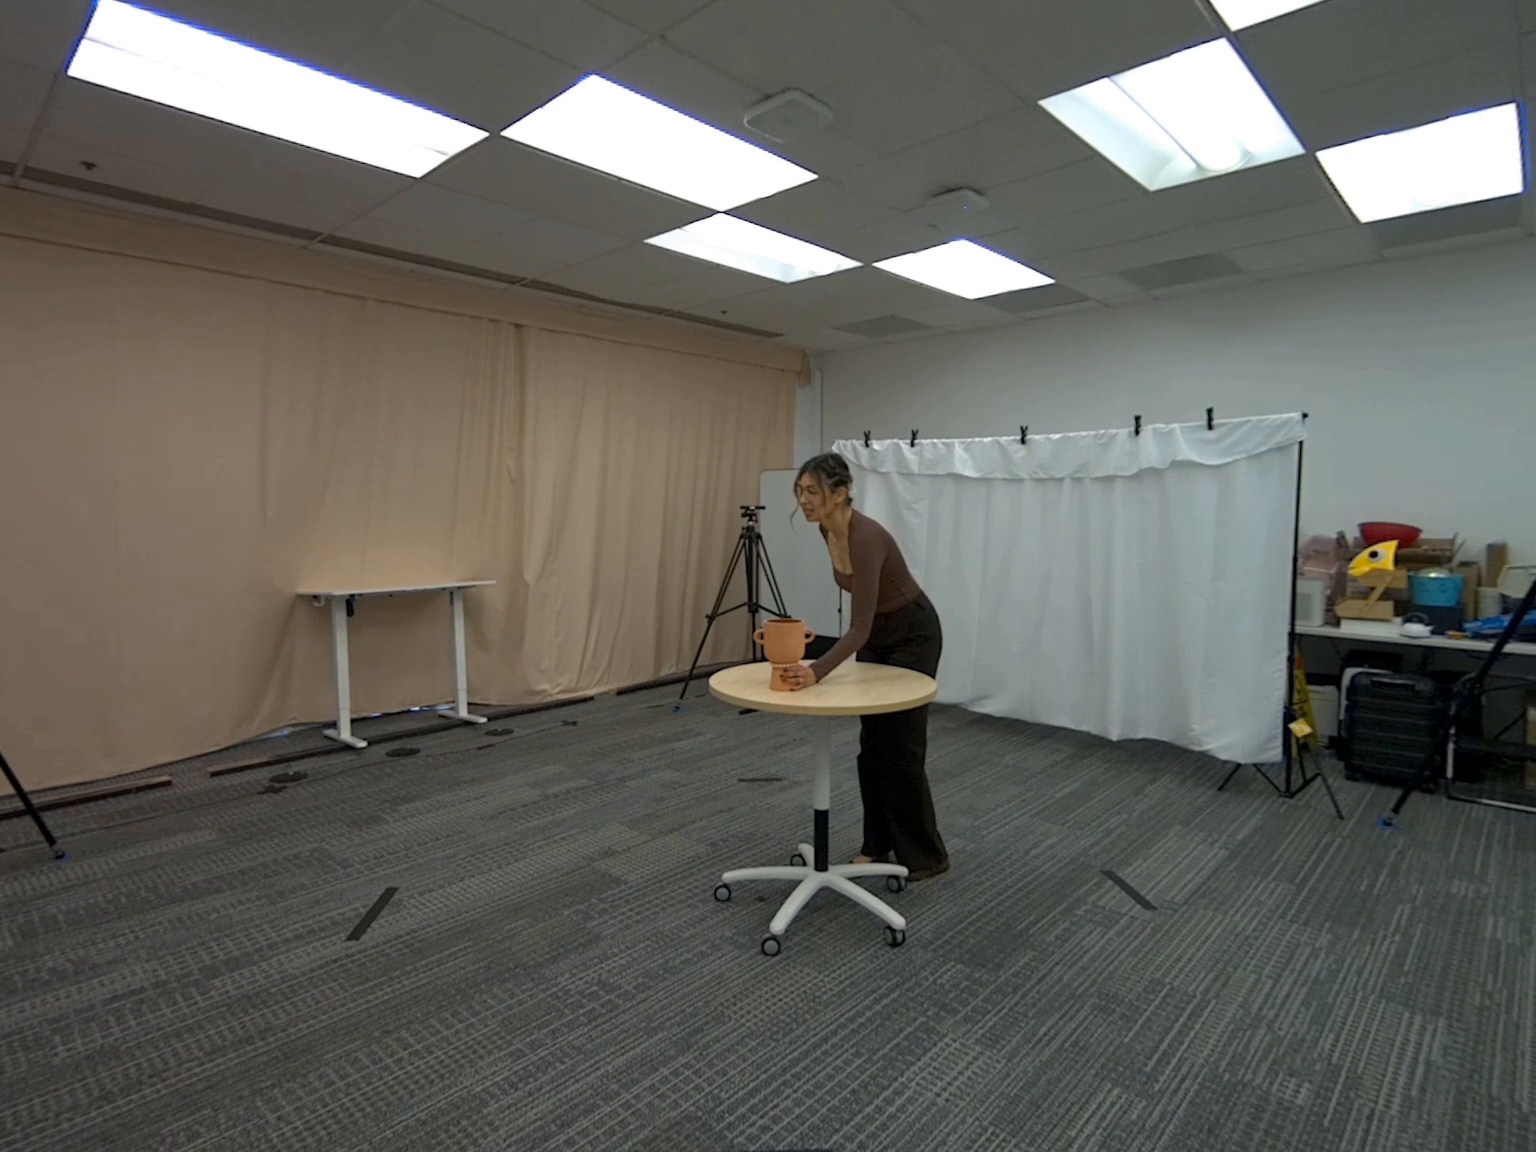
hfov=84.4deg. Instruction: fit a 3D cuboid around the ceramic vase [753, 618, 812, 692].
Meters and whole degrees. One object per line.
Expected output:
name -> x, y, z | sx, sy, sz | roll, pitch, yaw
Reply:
ceramic vase -> 0.057, 0.257, 2.739 | 0.164, 0.219, 0.131 | 1, 4, 34
